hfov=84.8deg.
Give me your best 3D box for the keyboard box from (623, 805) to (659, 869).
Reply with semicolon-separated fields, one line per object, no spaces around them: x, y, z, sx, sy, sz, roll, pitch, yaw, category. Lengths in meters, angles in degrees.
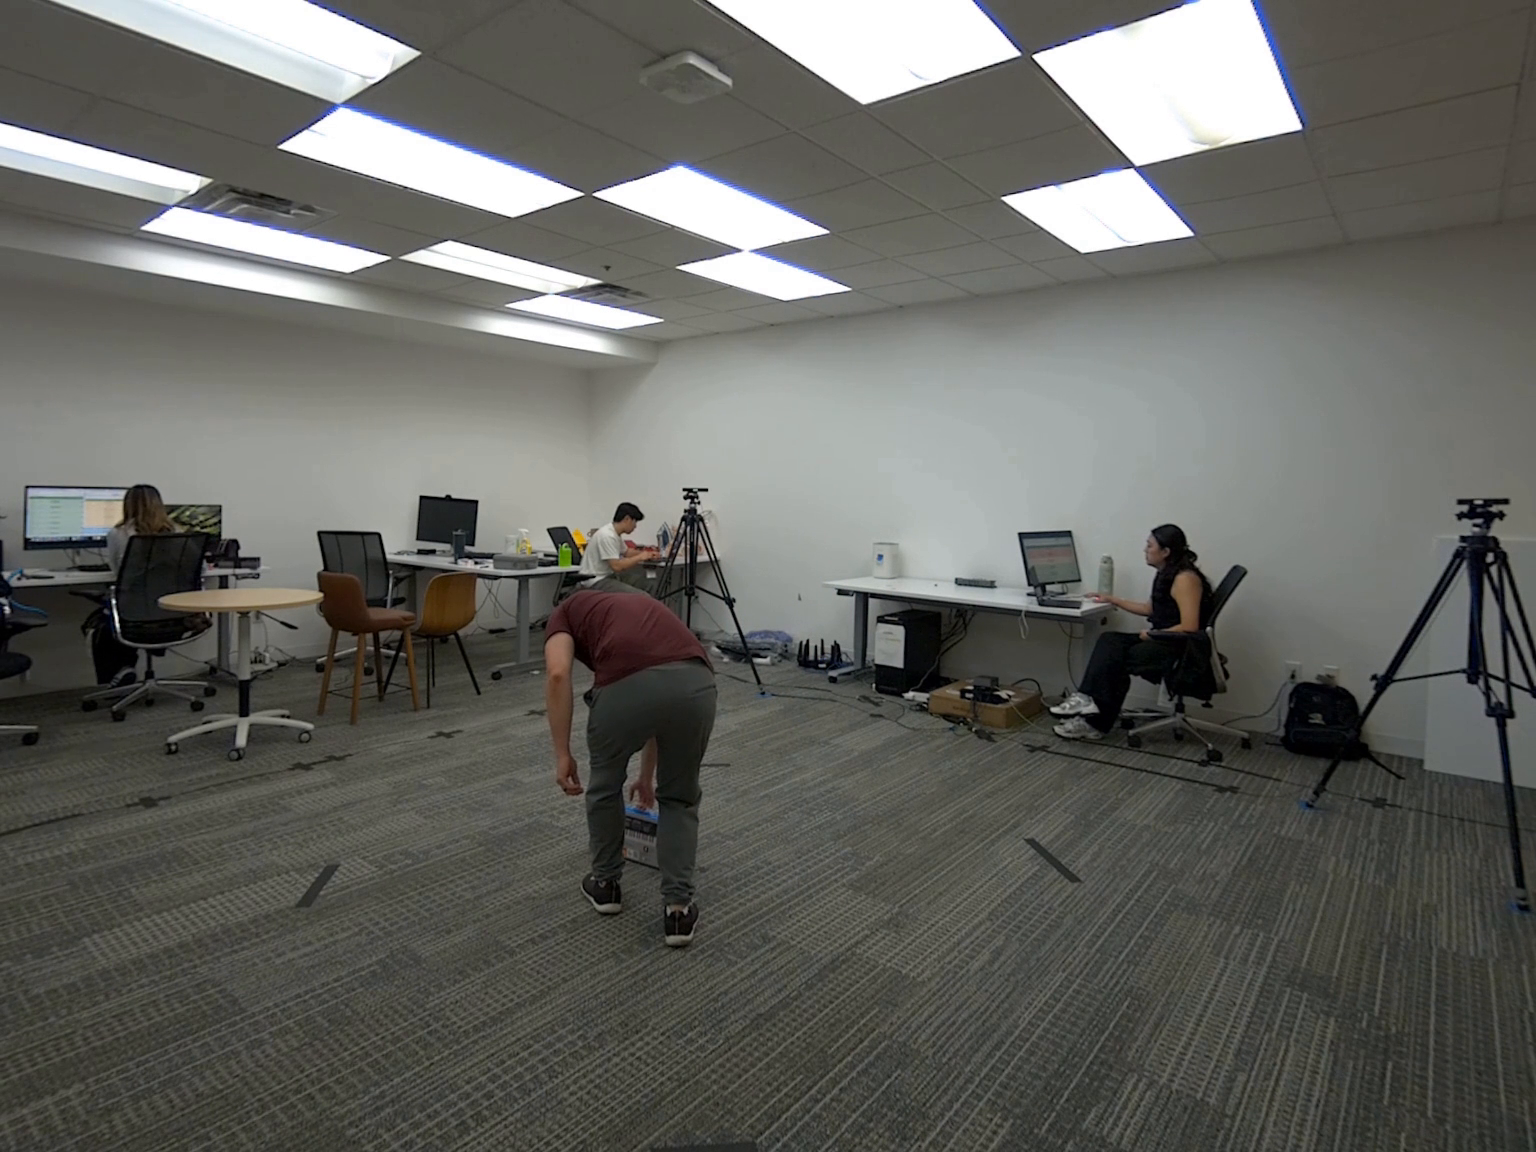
-0.484;0.968;3.176;0.450;0.176;0.057;4;-3;31;keyboard box
